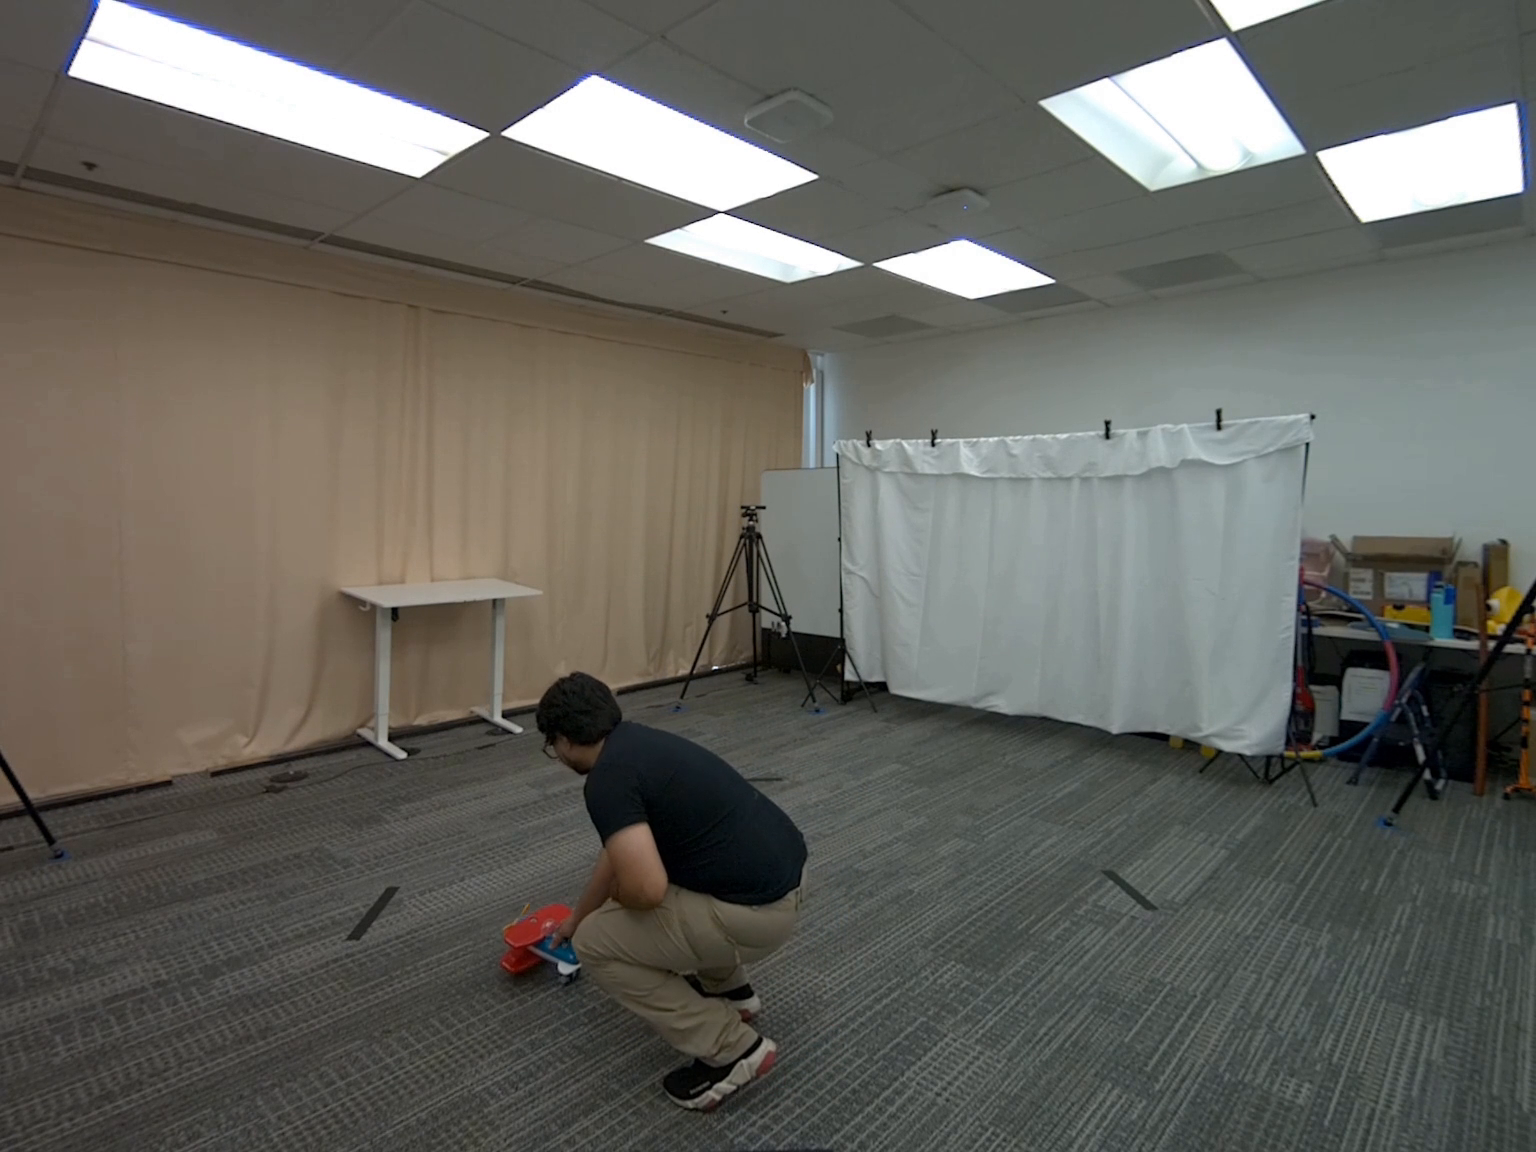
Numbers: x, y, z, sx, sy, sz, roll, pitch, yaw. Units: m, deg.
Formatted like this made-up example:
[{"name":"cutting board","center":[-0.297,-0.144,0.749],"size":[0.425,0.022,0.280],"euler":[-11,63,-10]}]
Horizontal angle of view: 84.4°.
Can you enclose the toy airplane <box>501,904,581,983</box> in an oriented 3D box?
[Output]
[{"name":"toy airplane","center":[-0.658,1.113,2.536],"size":[0.259,0.156,0.252],"euler":[-2,4,-1]}]
